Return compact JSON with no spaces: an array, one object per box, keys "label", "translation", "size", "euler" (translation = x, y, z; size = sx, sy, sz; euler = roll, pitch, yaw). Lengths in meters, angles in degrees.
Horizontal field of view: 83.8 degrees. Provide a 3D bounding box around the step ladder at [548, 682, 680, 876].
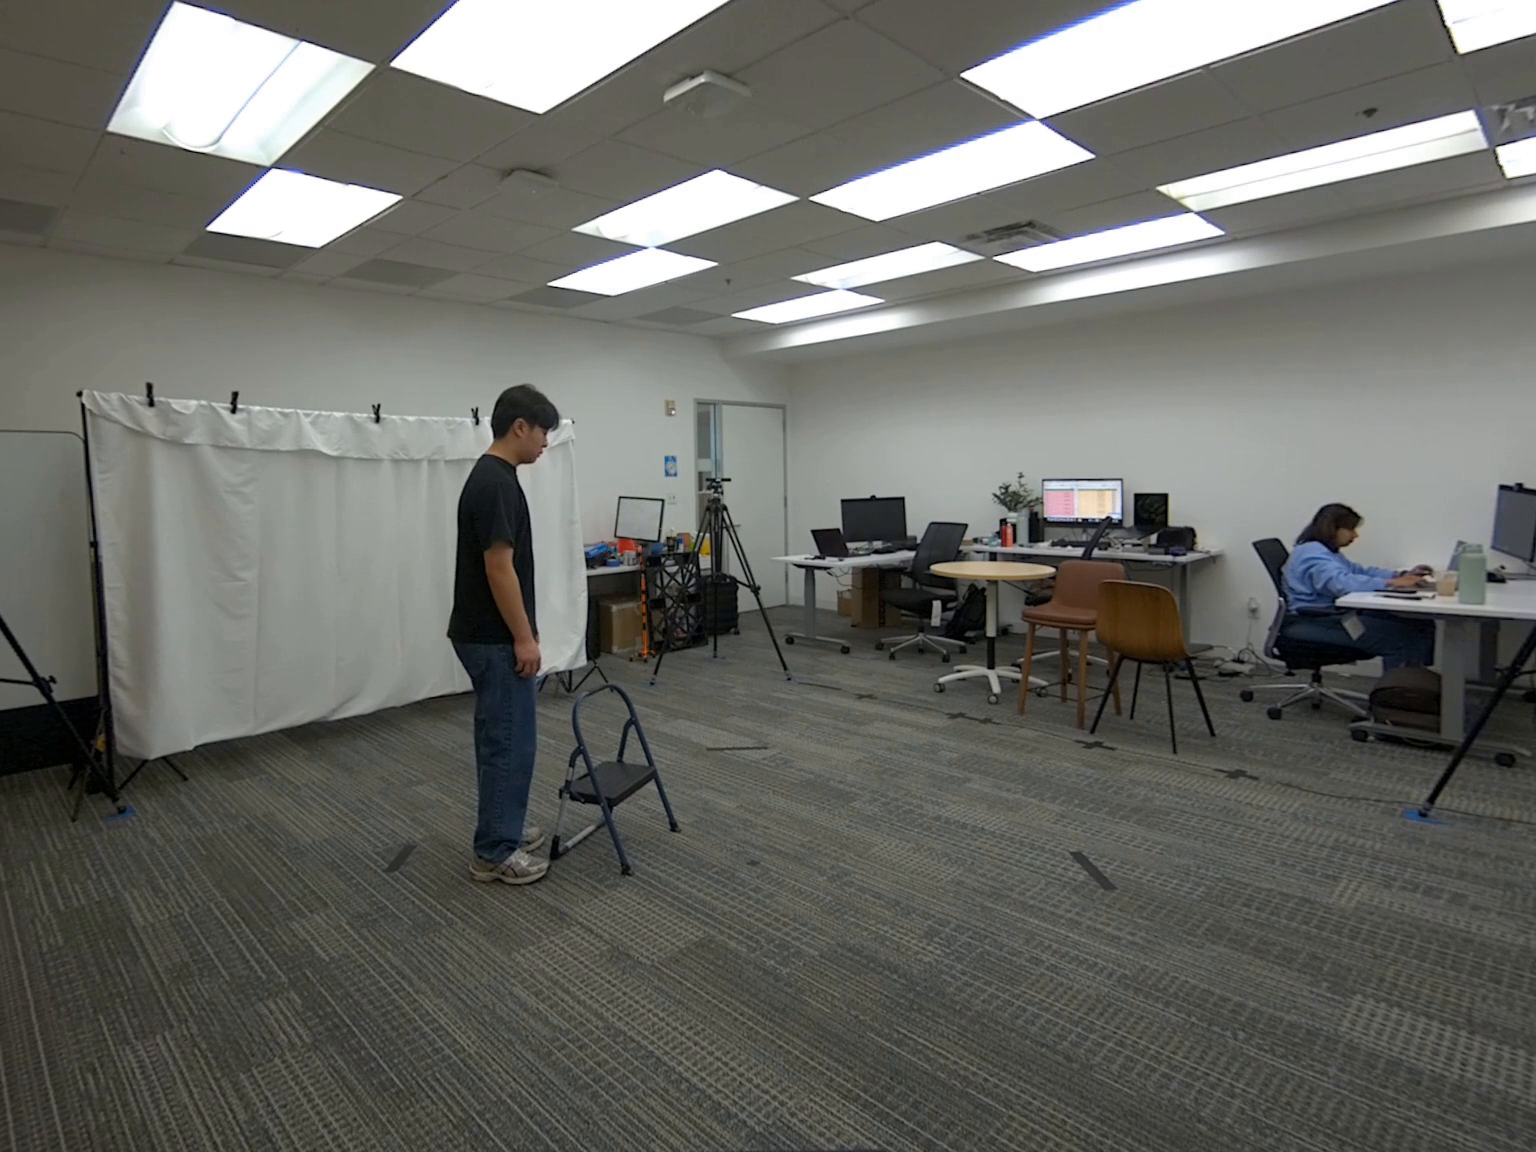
[{"label":"step ladder","translation":[-0.584,0.732,3.268],"size":[0.356,0.604,0.424],"euler":[0,4,20]}]
